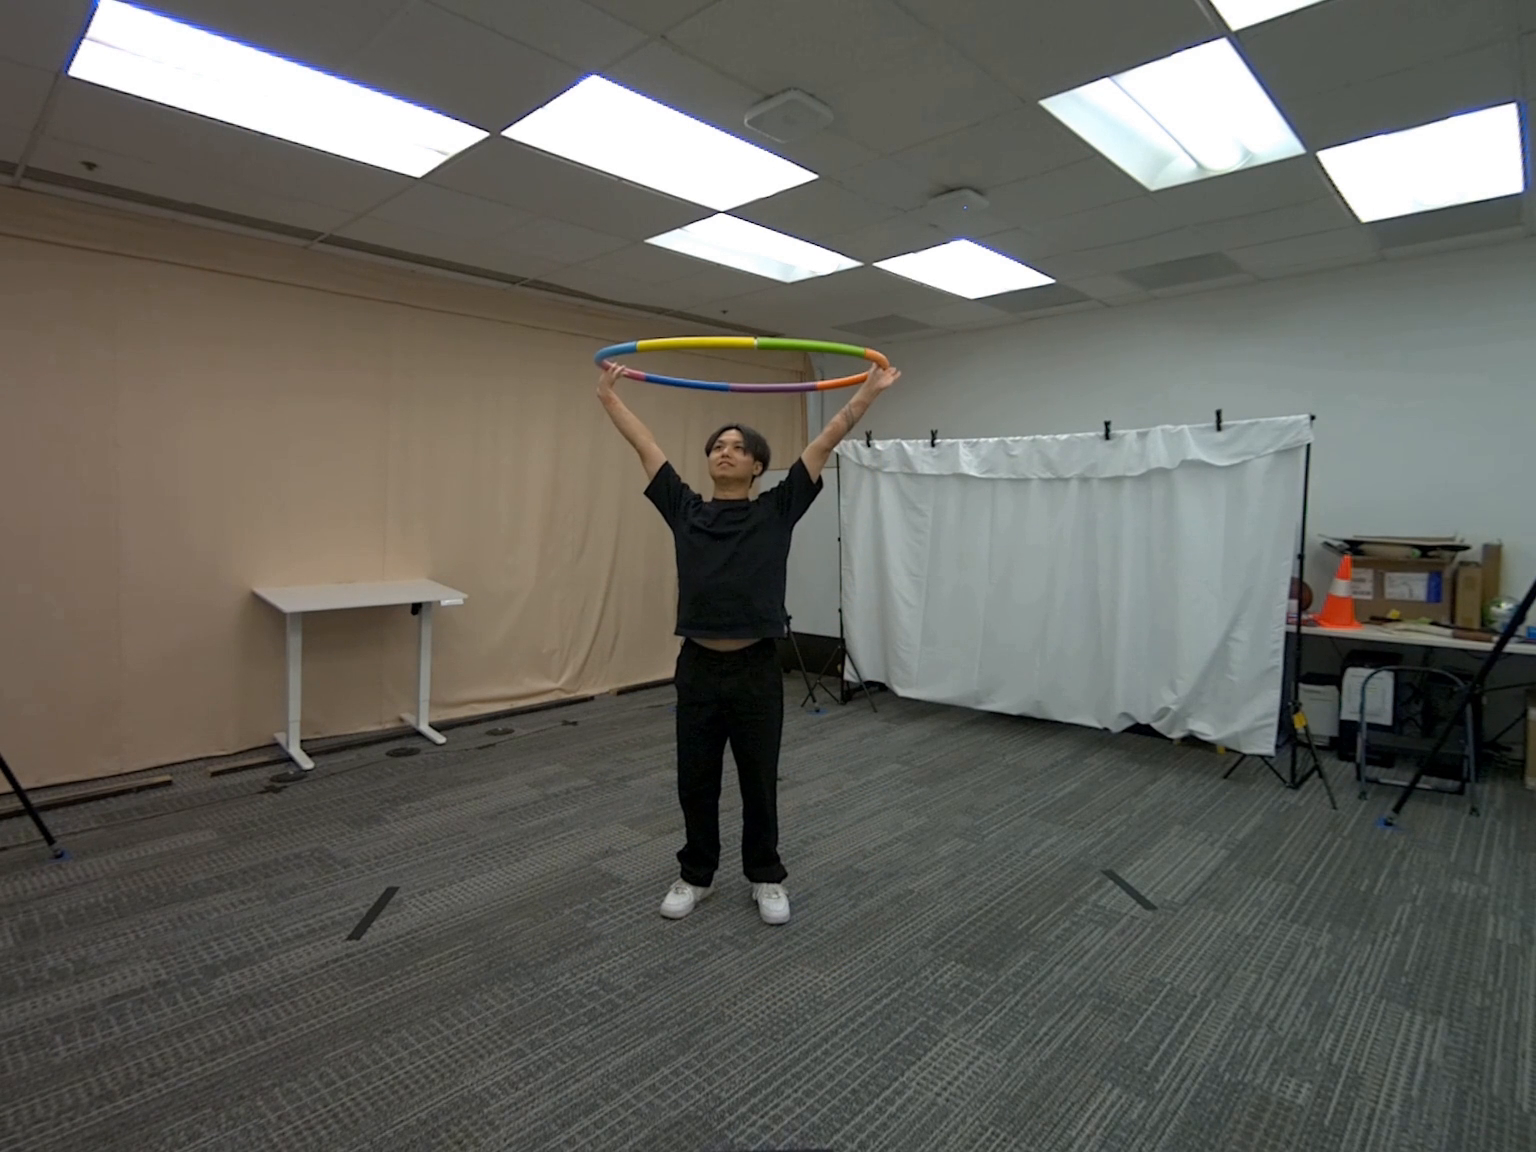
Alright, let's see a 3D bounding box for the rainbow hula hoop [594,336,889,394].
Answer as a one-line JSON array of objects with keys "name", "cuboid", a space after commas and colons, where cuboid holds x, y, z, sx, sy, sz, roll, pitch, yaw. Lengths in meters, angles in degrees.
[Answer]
[{"name": "rainbow hula hoop", "cuboid": [-0.091, -0.714, 2.897, 0.978, 0.035, 0.982, 2, 5, -2]}]
